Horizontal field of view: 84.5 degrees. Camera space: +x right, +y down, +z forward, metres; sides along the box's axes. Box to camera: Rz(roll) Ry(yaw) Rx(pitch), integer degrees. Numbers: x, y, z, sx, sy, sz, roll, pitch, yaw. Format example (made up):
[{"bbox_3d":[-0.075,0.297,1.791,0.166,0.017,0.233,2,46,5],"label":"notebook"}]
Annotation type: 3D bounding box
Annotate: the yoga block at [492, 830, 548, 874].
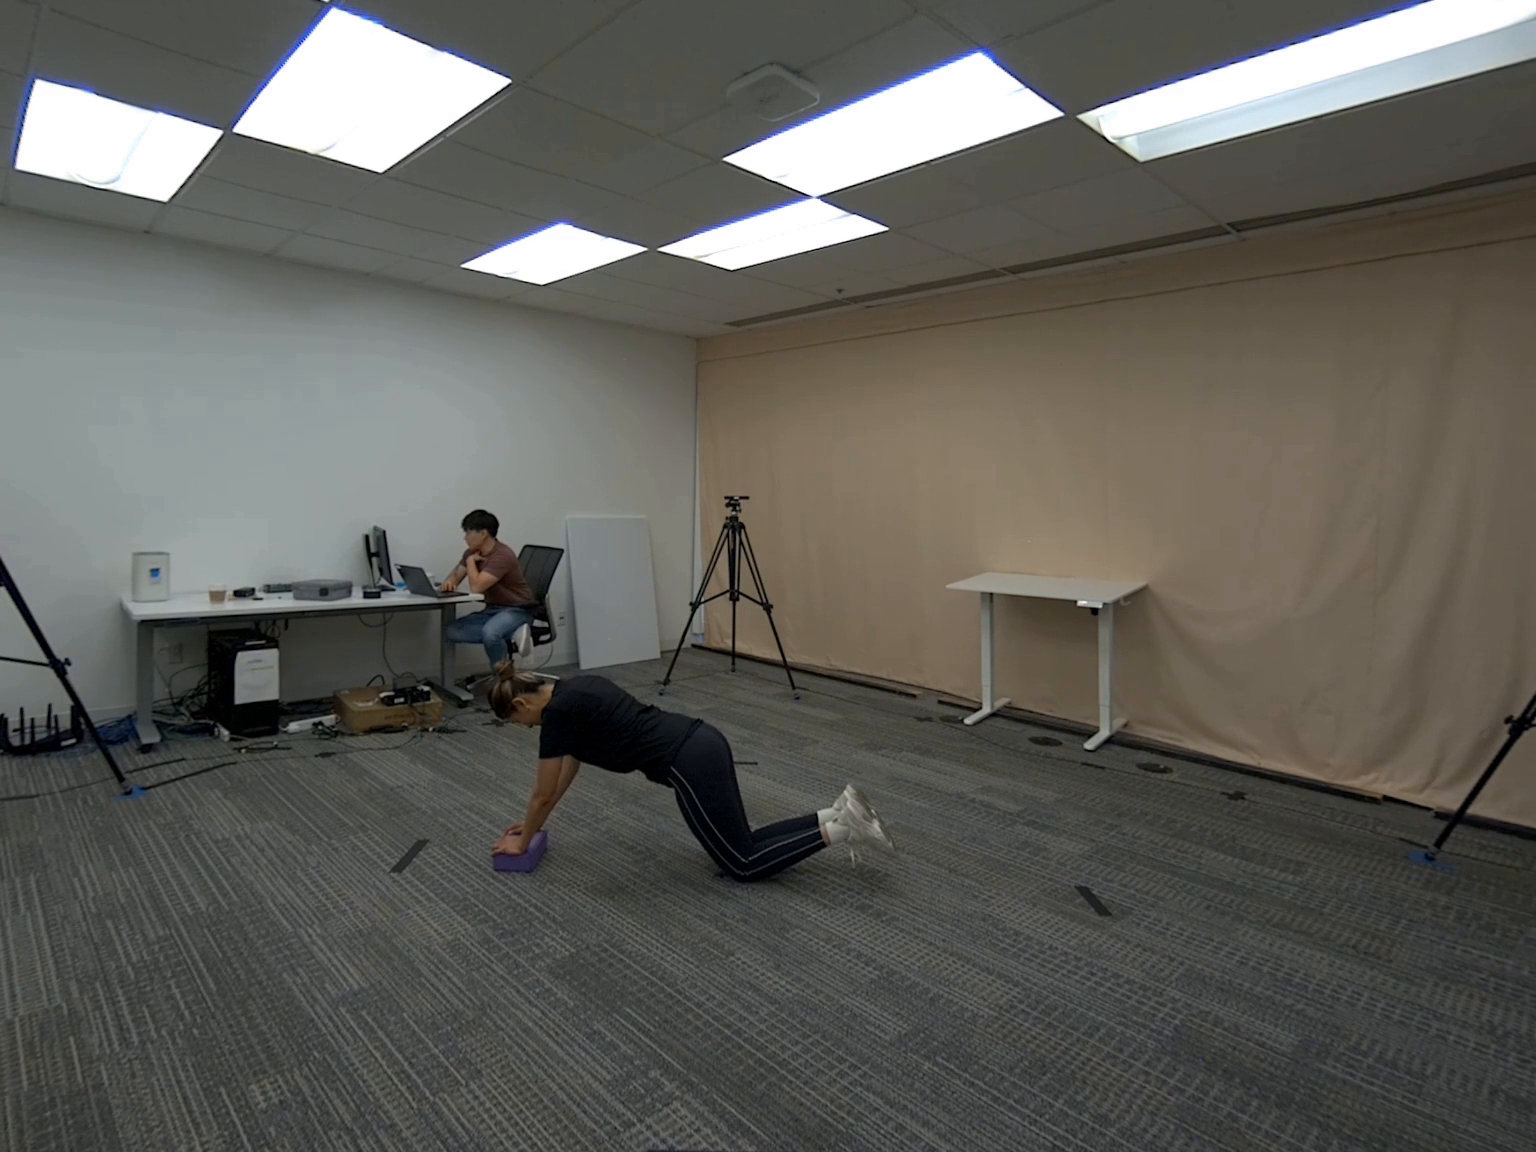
[{"bbox_3d":[-0.937,1.030,3.199,0.149,0.076,0.229,-2,5,1],"label":"yoga block"}]
